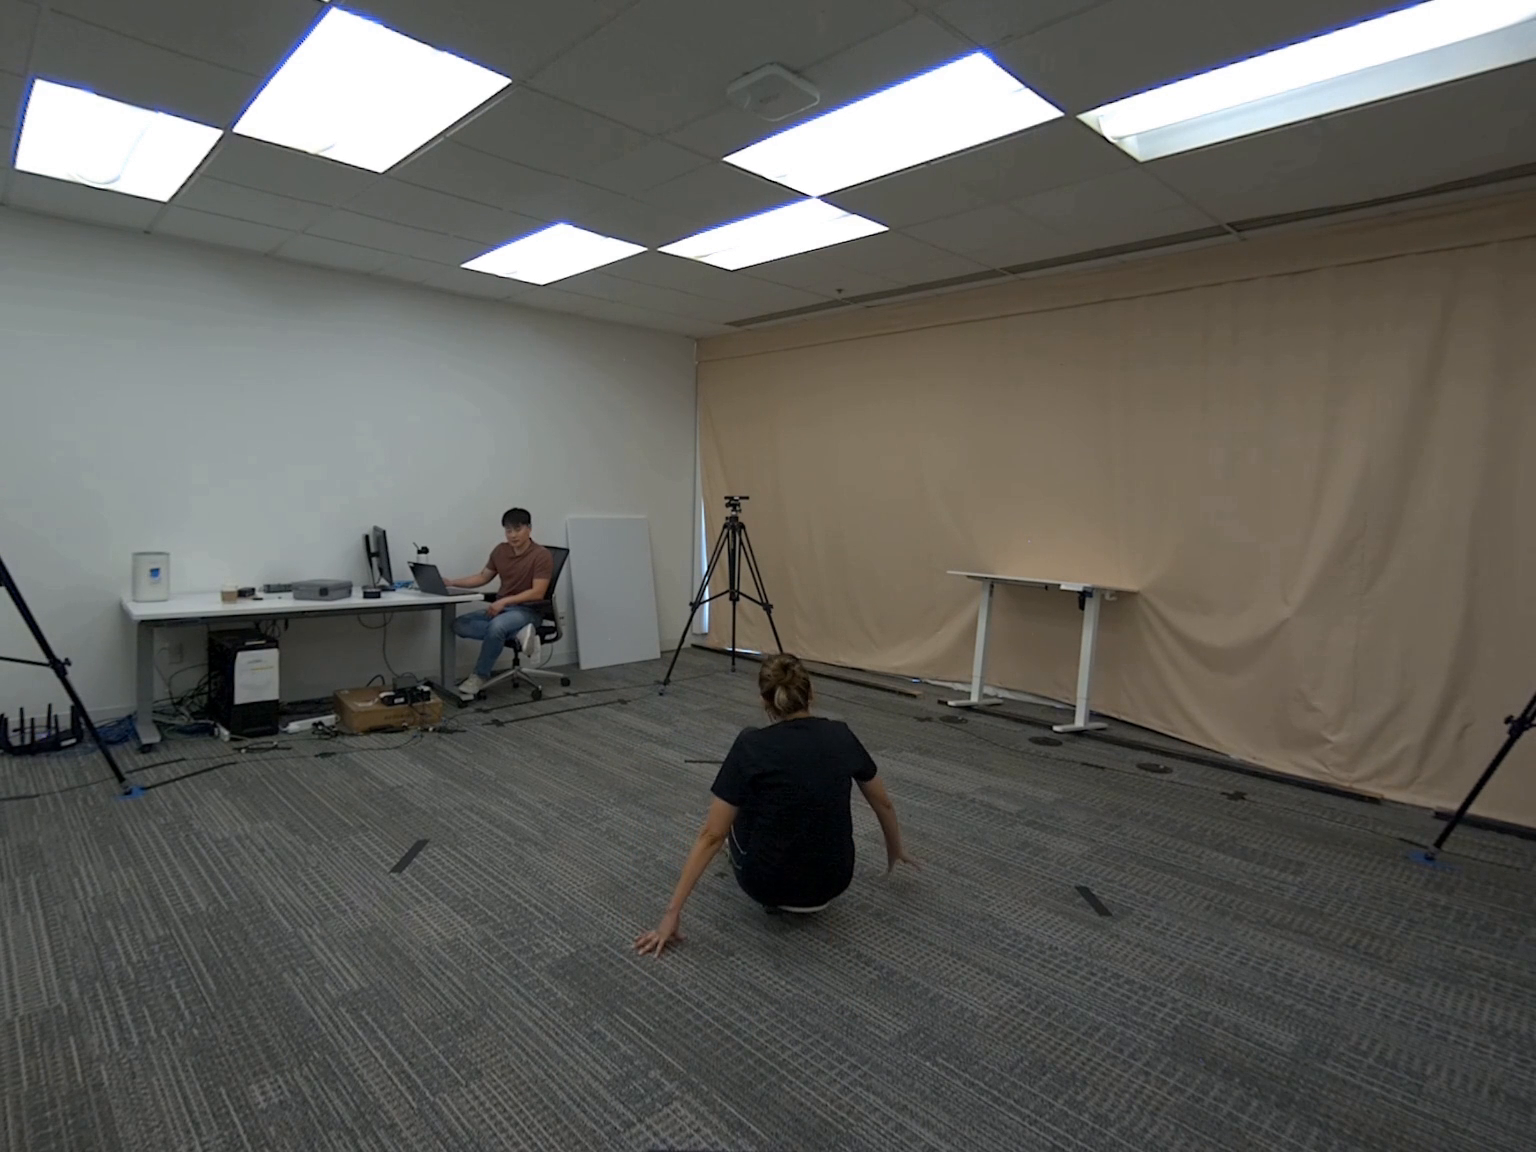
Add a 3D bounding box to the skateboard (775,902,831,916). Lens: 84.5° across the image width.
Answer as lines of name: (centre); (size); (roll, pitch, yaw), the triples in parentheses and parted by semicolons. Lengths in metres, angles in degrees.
skateboard: (0.006, 1.068, 3.043); (0.191, 0.110, 0.798); (1, 5, -19)
